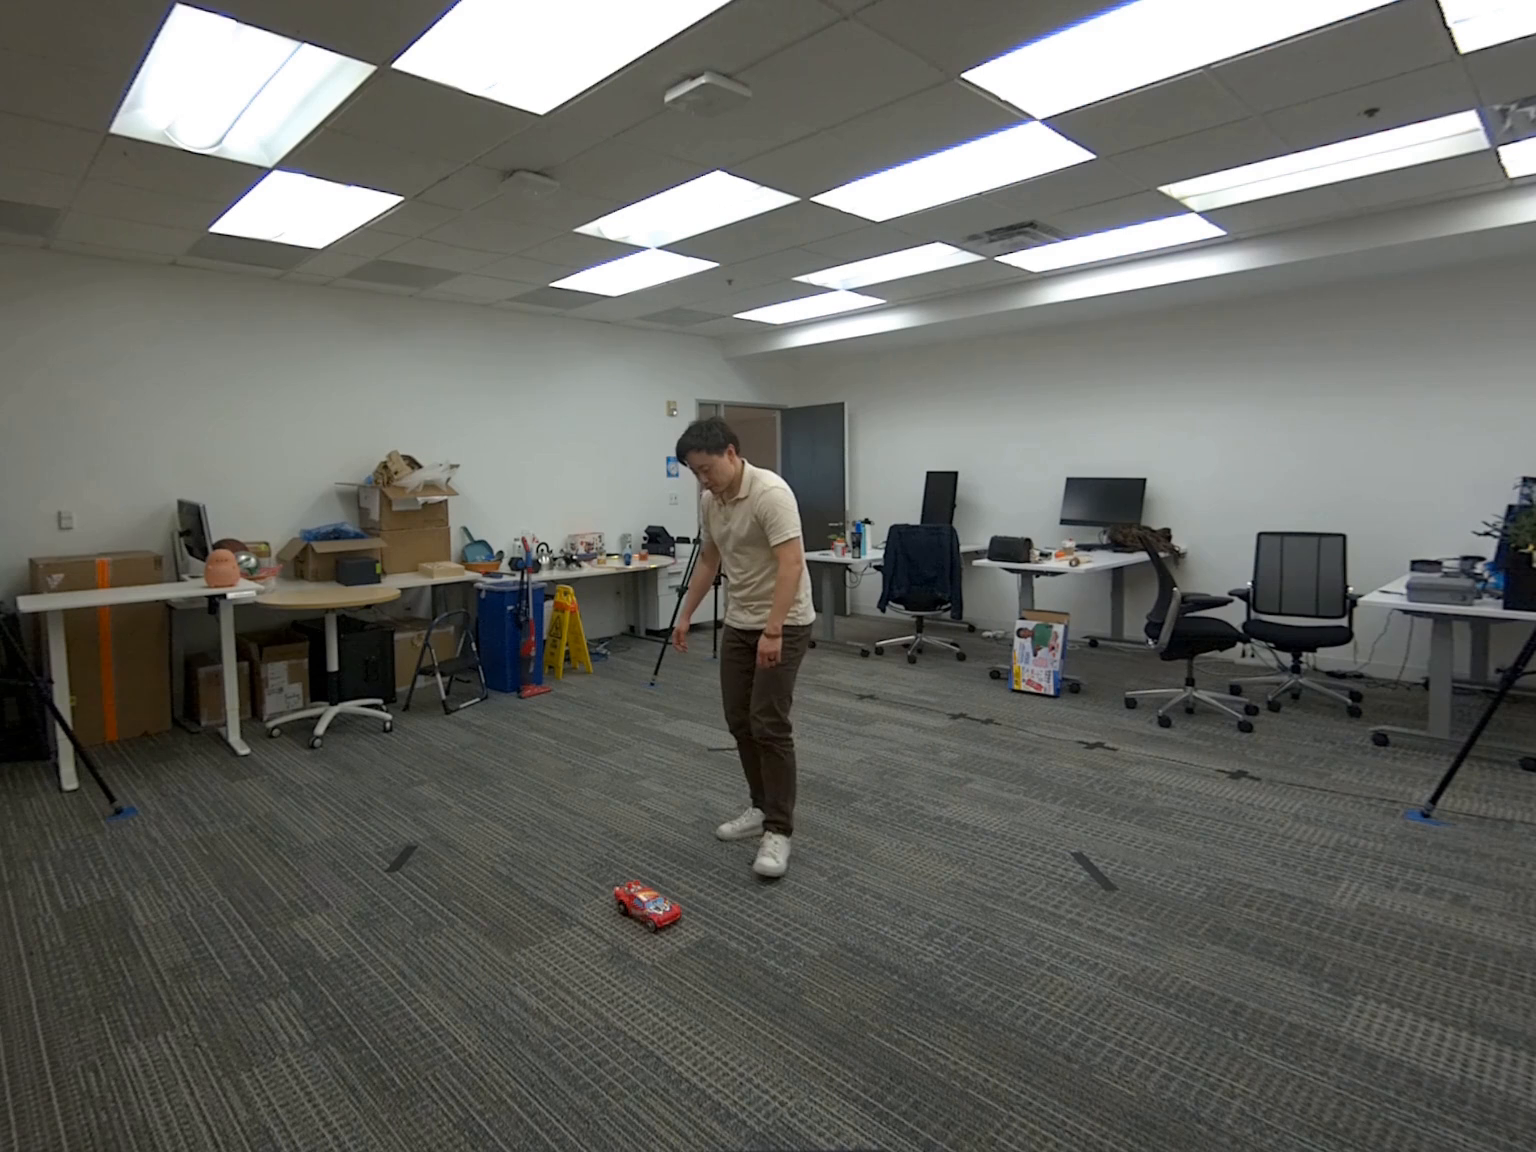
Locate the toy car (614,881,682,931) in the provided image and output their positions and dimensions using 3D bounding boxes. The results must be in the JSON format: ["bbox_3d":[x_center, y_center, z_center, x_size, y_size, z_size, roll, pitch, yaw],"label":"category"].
[{"bbox_3d":[-0.388,1.060,2.749,0.127,0.082,0.264,-7,20,-43],"label":"toy car"}]
